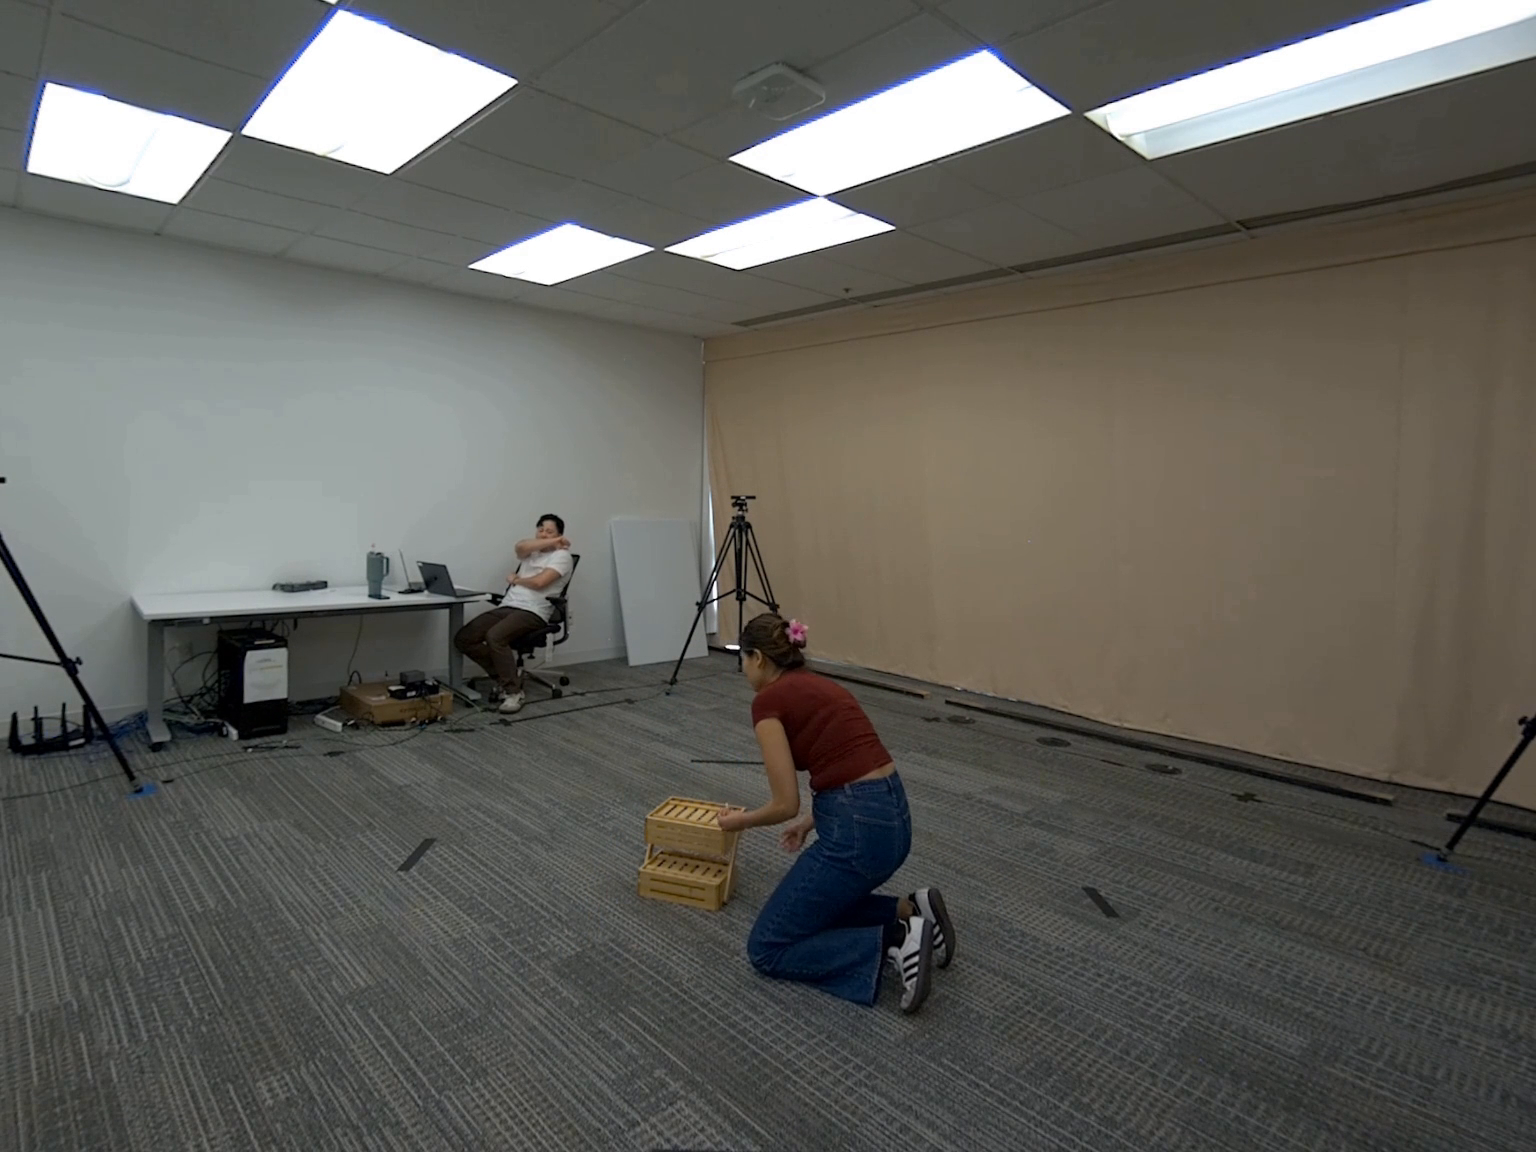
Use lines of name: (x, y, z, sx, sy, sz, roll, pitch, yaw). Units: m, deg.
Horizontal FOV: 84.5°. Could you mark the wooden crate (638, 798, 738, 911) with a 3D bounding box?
wooden crate: (-0.269, 0.982, 3.004, 0.330, 0.272, 0.298, 3, 5, 19)
